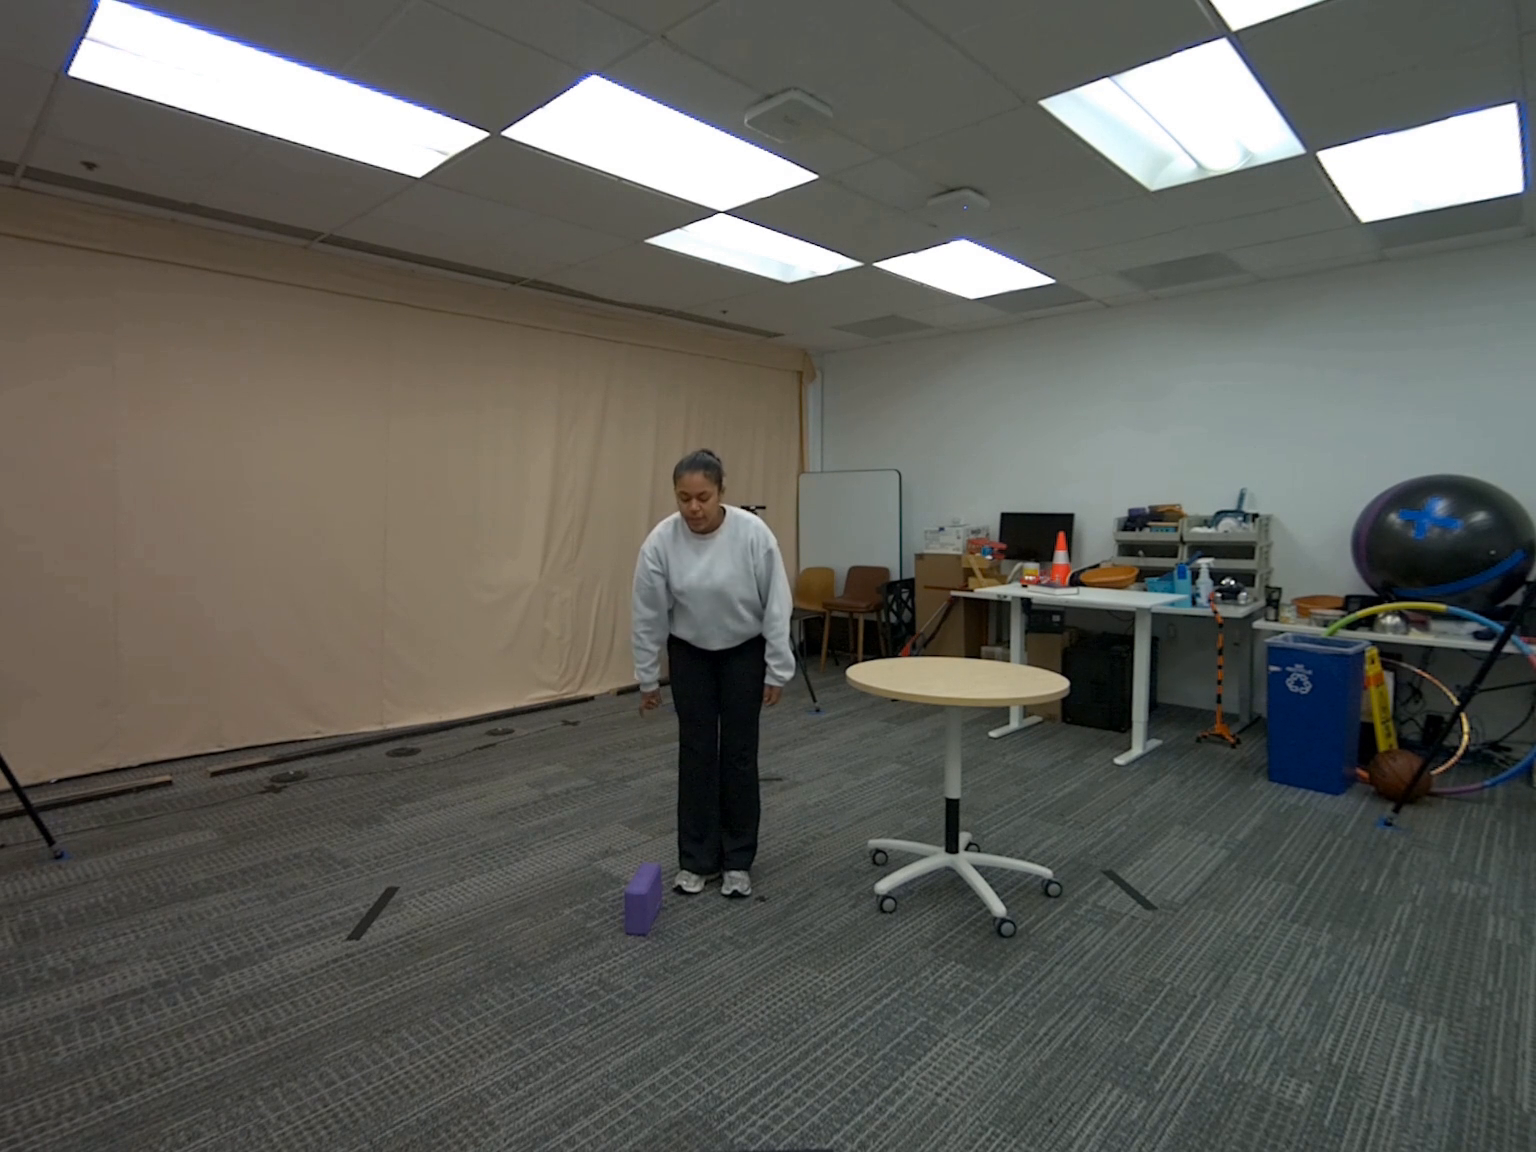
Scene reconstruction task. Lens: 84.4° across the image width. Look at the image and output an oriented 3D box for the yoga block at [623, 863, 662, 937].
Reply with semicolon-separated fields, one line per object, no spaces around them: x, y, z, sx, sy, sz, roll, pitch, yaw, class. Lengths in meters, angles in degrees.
-0.420;1.074;2.837;0.077;0.148;0.229;0;7;4;yoga block
